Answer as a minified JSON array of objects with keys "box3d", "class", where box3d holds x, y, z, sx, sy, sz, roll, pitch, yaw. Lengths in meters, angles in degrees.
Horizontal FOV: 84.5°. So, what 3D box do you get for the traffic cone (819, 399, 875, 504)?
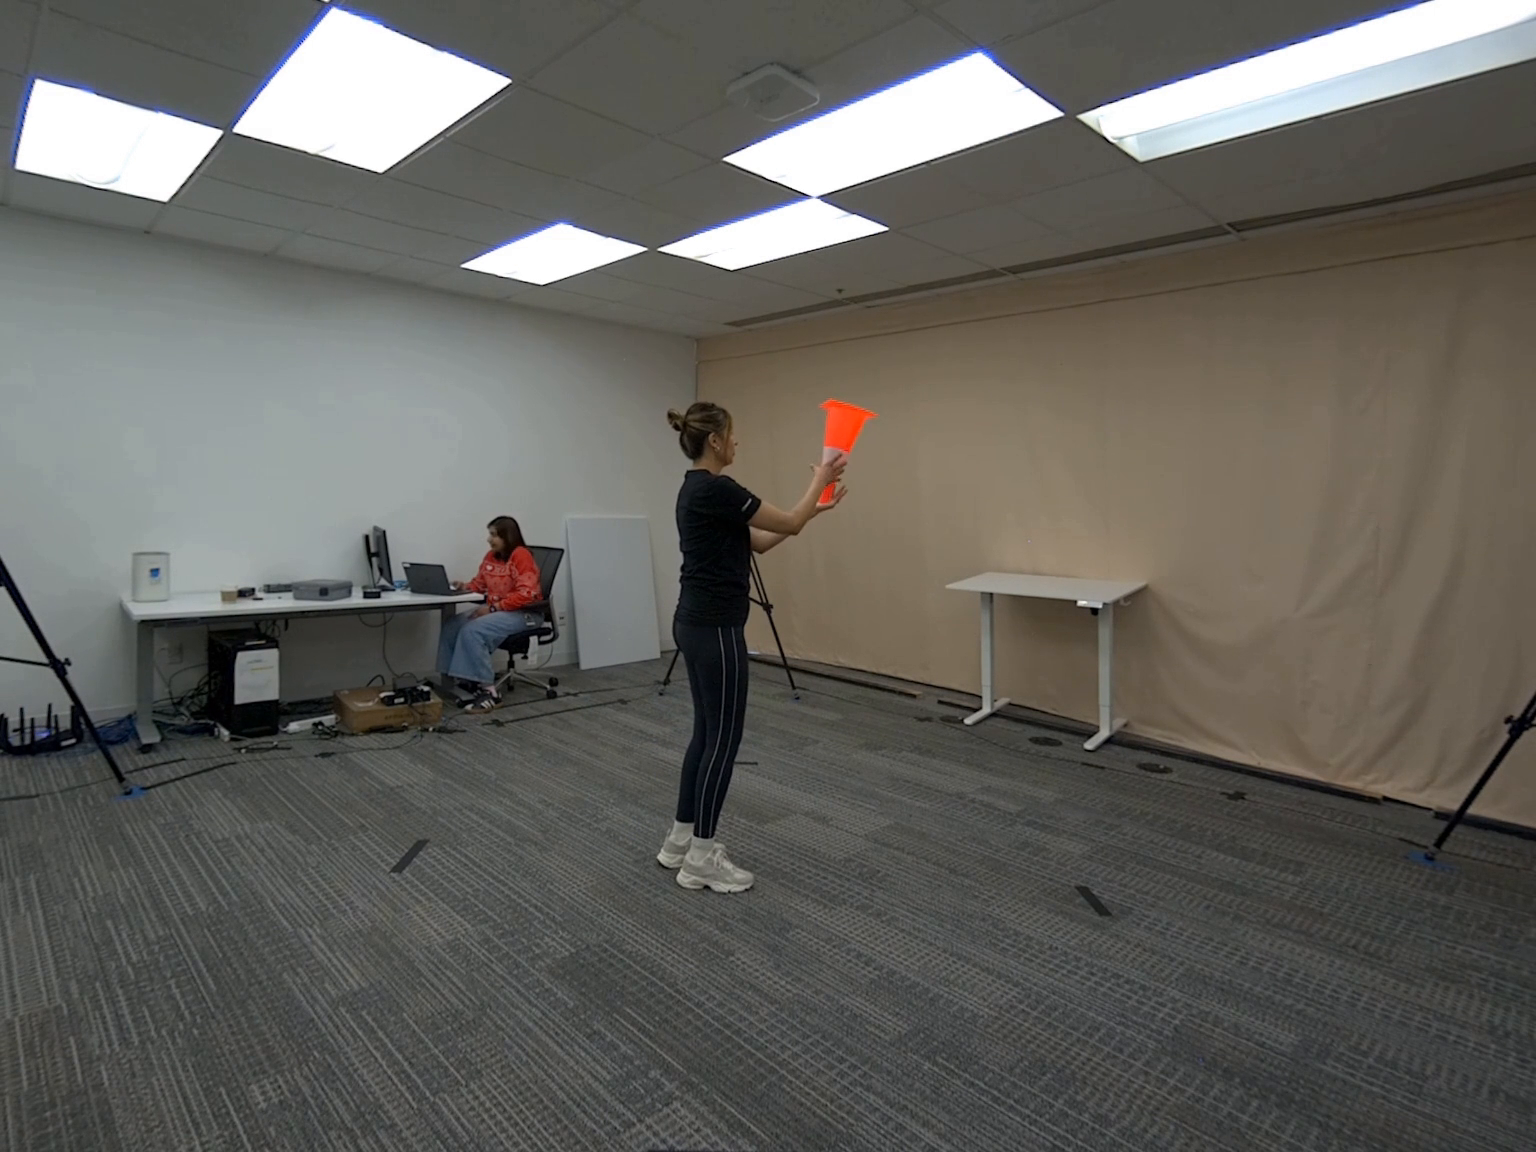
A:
[{"box3d":[0.259,-0.470,3.304,0.203,0.383,0.205,15,1,-9],"class":"traffic cone"}]
